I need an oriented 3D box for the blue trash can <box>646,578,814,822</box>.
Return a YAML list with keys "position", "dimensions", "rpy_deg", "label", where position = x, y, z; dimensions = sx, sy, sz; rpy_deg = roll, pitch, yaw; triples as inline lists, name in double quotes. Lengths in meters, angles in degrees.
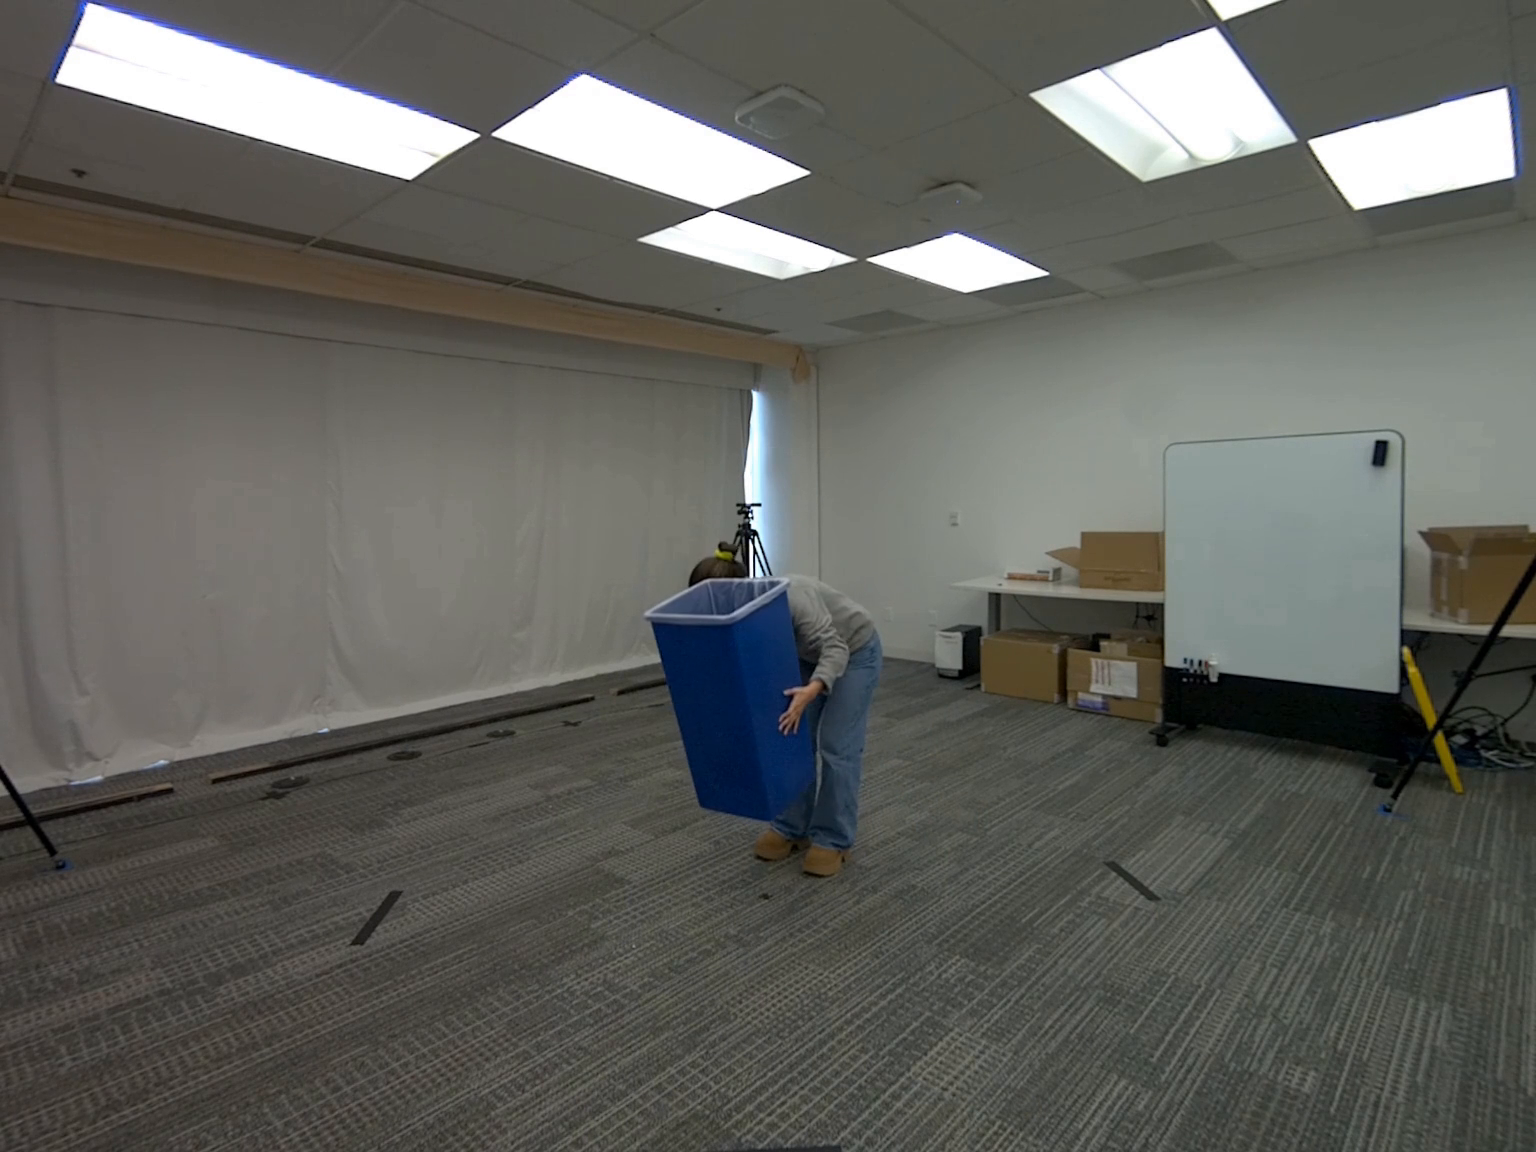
- position: [-0.099, 0.399, 2.811]
  dimensions: [0.389, 0.707, 0.366]
  rpy_deg: [-2, 15, 36]
  label: "blue trash can"
